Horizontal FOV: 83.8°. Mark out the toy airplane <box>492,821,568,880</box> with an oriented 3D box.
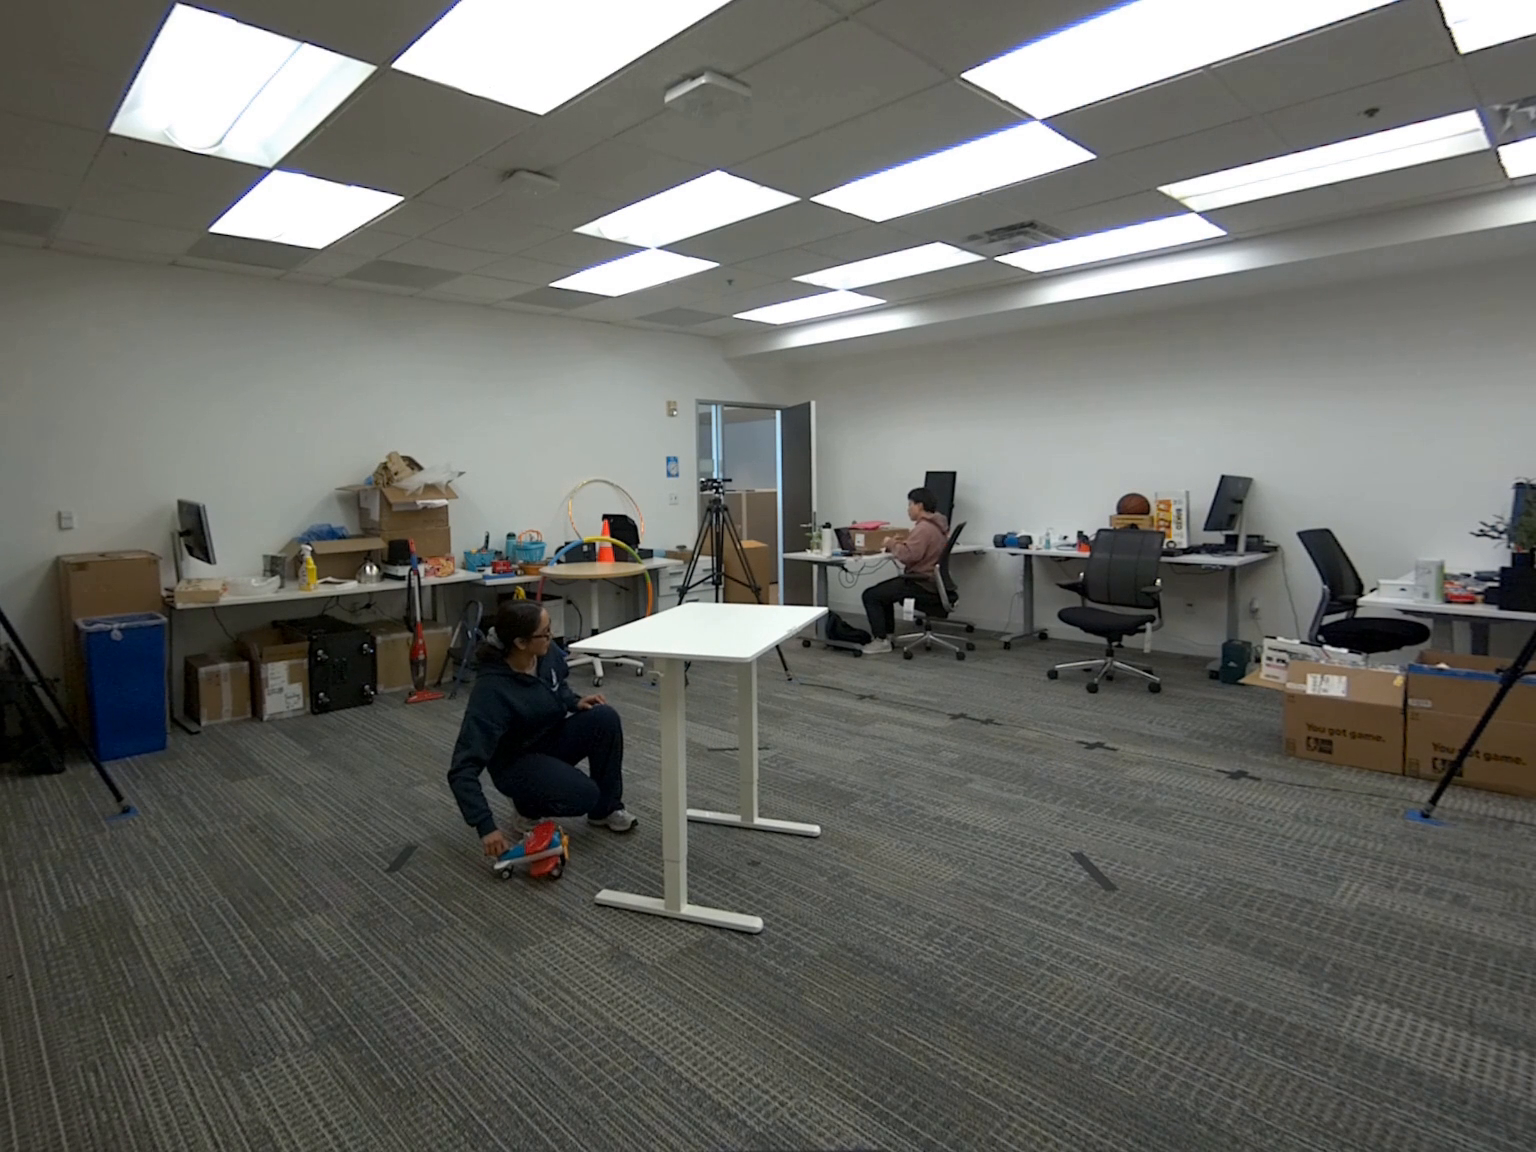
[{"bbox_3d":[-0.844,0.996,2.998,0.253,0.156,0.258,-4,4,-33],"label":"toy airplane"}]
